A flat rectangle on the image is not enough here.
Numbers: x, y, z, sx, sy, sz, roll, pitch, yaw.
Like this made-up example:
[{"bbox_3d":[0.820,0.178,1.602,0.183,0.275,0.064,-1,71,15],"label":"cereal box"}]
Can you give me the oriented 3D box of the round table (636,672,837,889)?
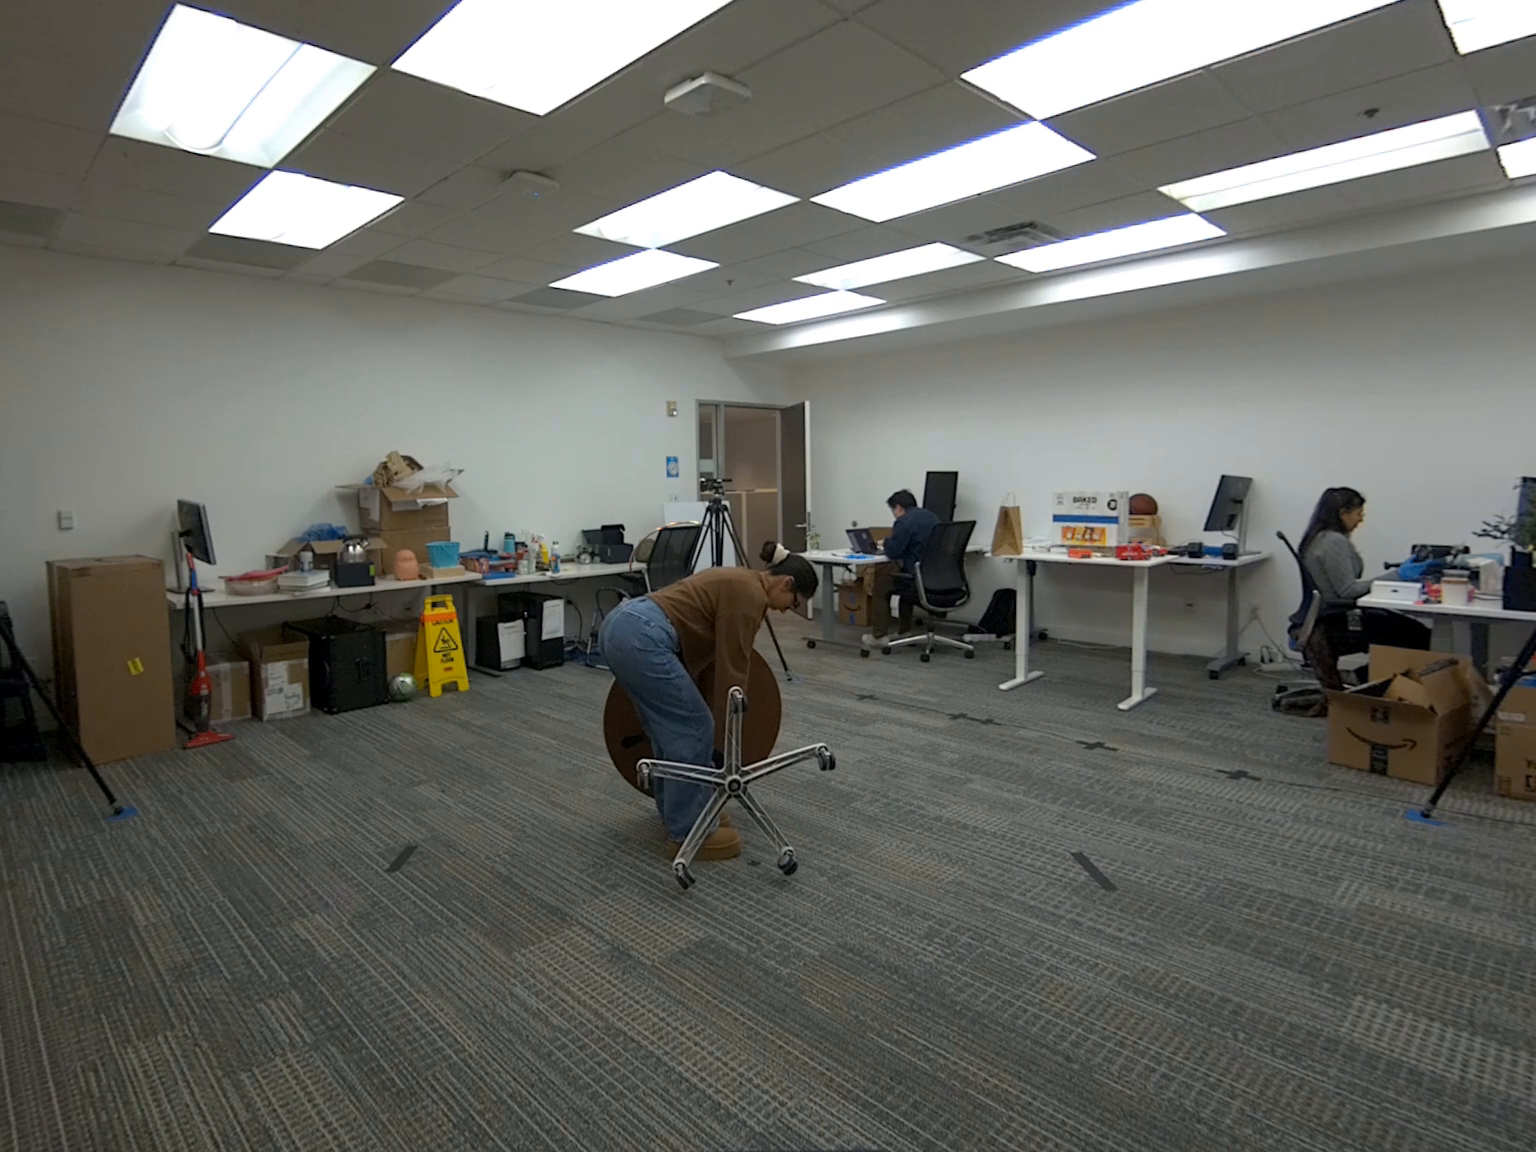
[{"bbox_3d":[-0.201,0.667,3.216,0.754,0.757,0.811,-2,10,-14],"label":"round table"}]
